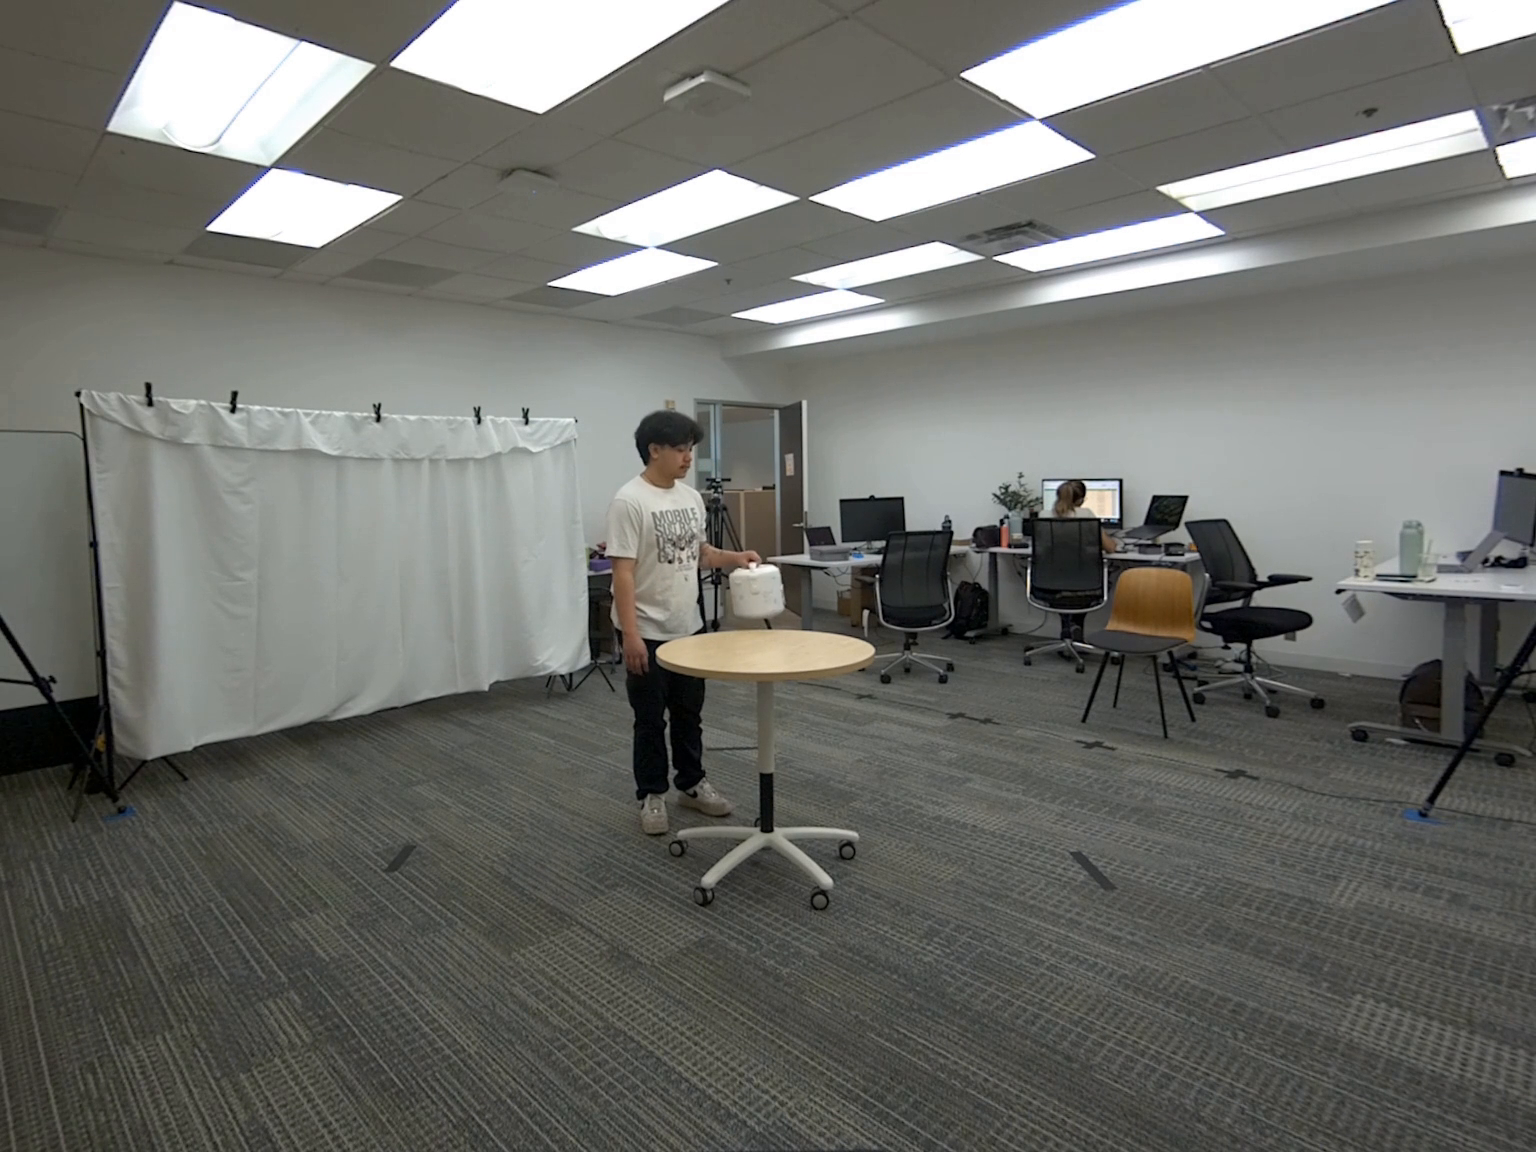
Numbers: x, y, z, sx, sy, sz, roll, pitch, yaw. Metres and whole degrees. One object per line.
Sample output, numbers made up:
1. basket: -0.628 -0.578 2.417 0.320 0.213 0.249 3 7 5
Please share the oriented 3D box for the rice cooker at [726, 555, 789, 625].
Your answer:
1. rice cooker: -0.044 0.052 3.509 0.218 0.232 0.220 -7 4 4
